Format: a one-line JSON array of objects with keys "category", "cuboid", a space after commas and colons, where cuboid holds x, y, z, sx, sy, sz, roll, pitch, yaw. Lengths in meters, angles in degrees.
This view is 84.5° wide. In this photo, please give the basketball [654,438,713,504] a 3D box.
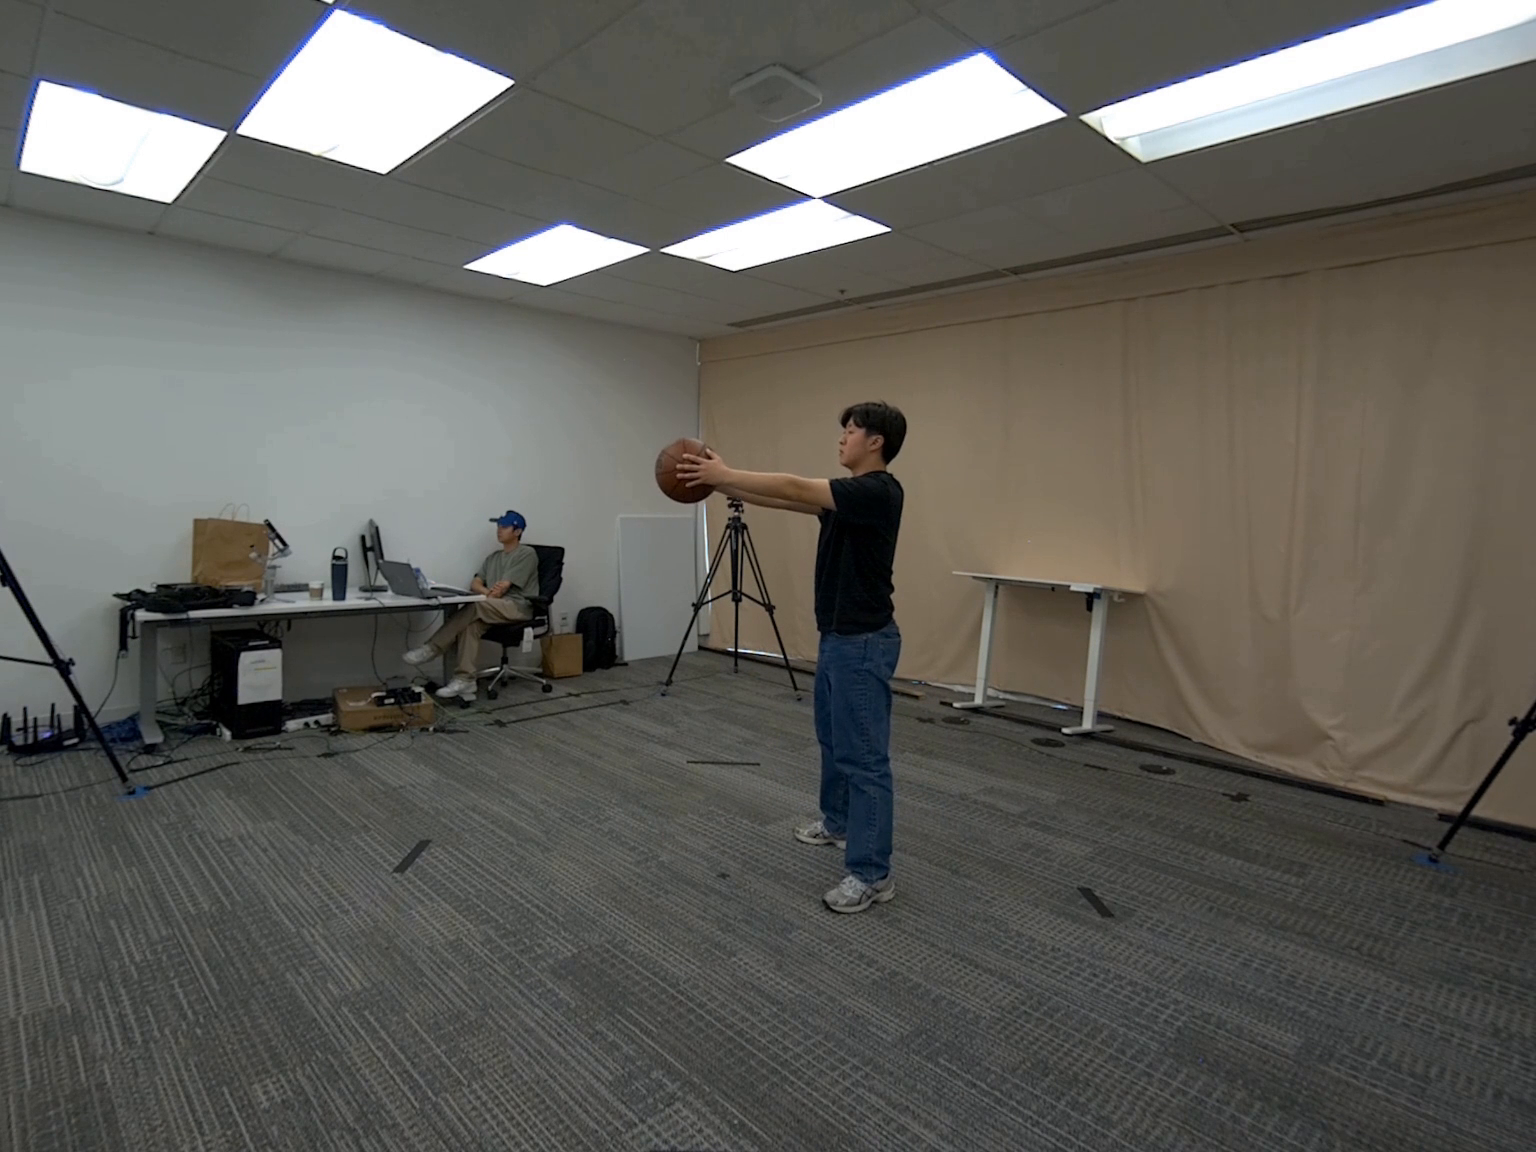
[{"category": "basketball", "cuboid": [-0.295, -0.373, 3.060, 0.236, 0.235, 0.237, 1, 4, -1]}]
